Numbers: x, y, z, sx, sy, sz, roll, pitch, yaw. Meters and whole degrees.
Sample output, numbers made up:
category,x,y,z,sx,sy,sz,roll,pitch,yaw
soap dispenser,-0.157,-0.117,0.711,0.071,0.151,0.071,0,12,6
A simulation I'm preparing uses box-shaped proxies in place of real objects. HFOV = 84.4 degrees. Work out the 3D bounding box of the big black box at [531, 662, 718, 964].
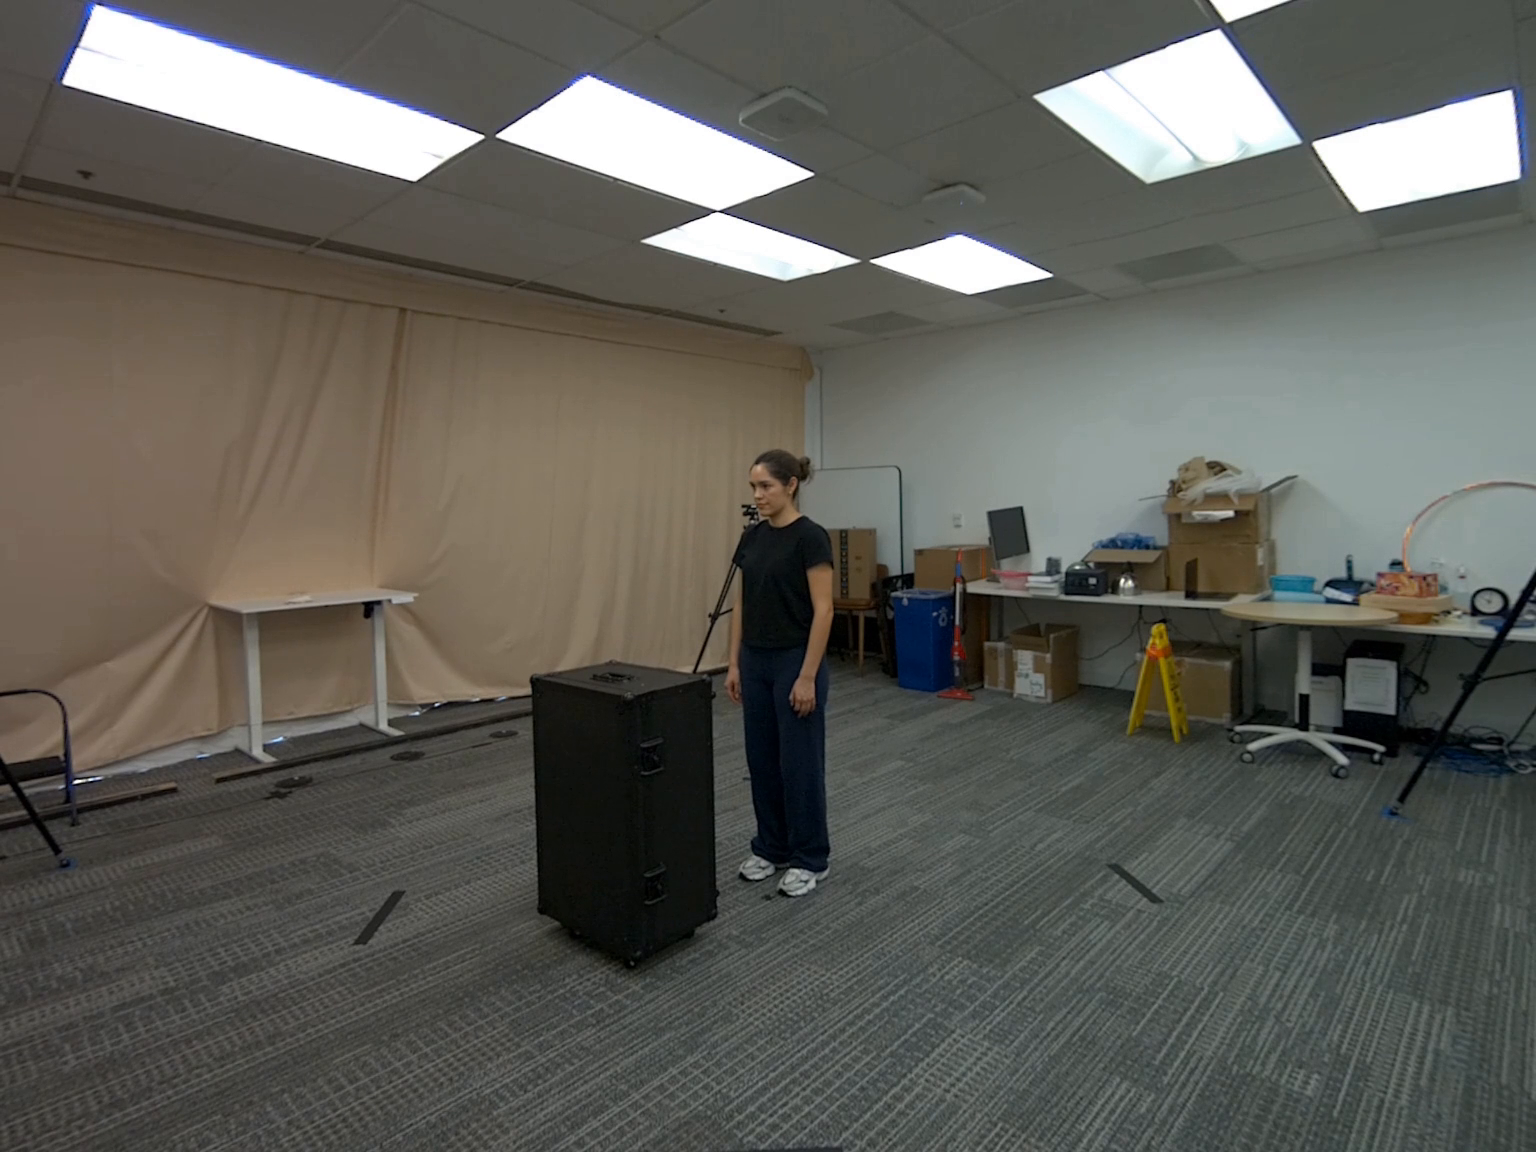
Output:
category,x,y,z,sx,sy,sz,roll,pitch,yaw
big black box,-0.448,0.744,2.726,0.538,0.860,0.384,1,3,41
